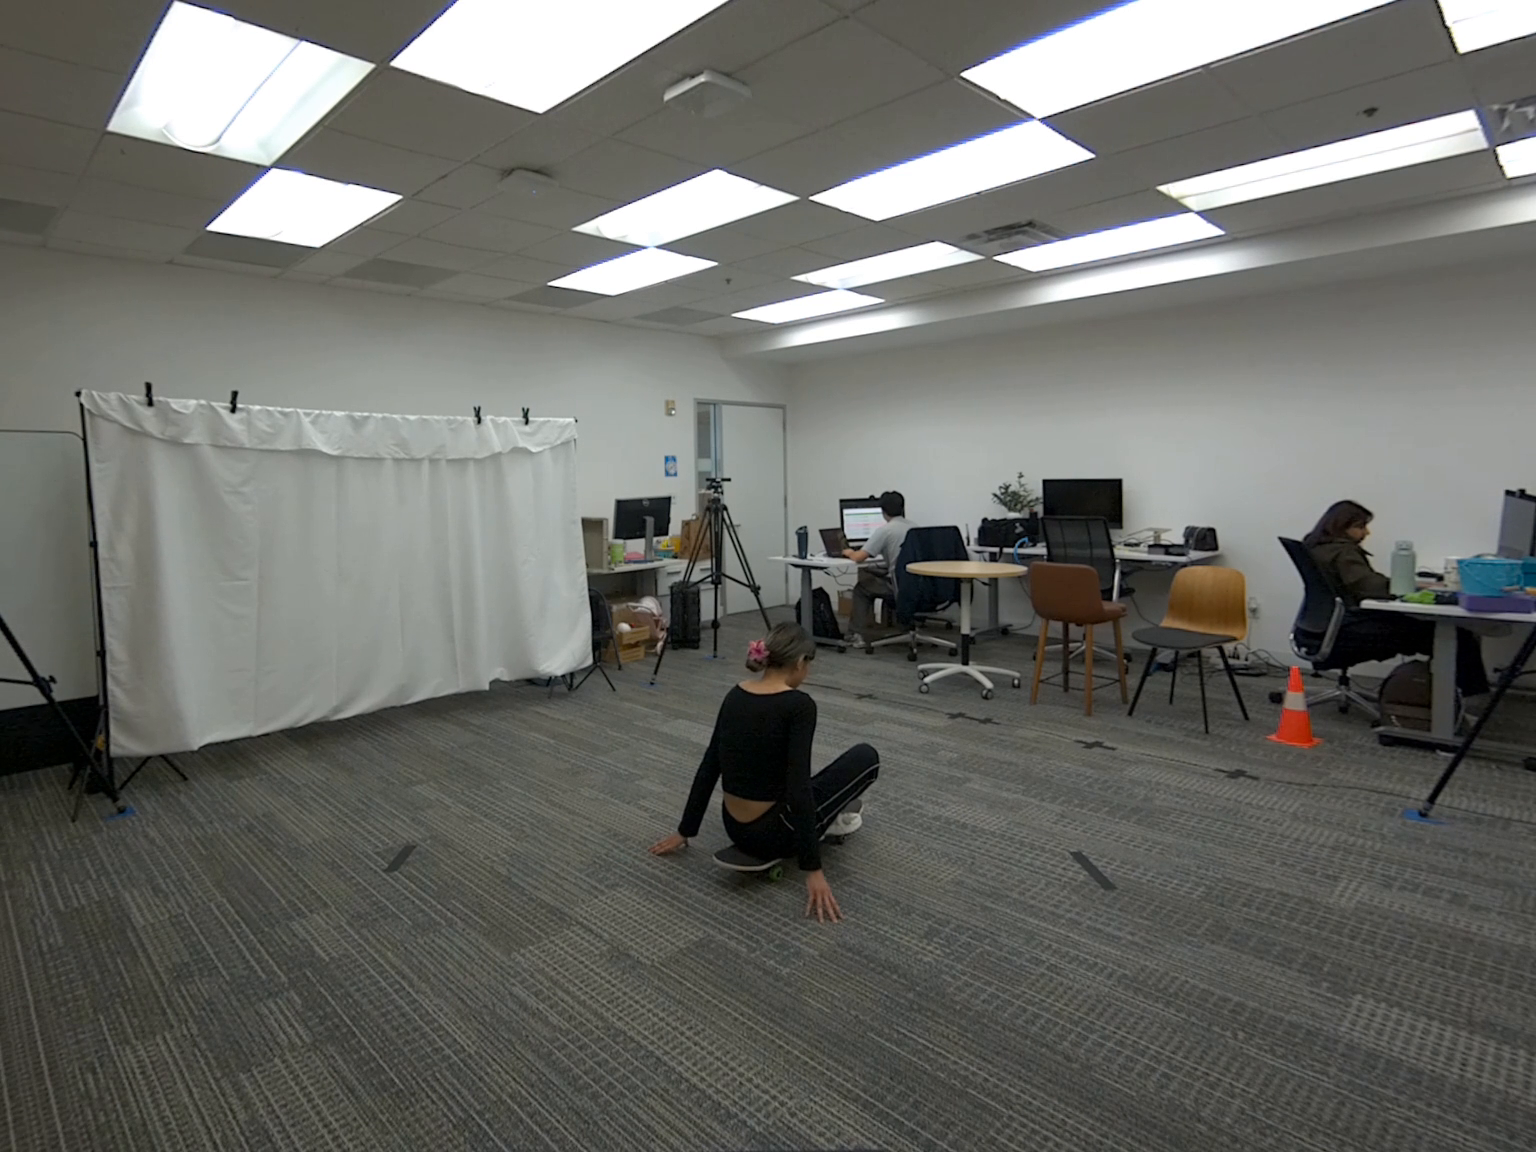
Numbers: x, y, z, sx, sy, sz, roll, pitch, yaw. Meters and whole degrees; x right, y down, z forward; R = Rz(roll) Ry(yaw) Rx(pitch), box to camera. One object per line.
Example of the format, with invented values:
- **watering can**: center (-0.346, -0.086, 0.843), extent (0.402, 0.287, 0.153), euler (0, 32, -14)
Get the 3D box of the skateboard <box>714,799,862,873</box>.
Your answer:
- **skateboard**: center (0.095, 0.968, 3.178), extent (0.199, 0.109, 0.767), euler (5, 10, 38)
